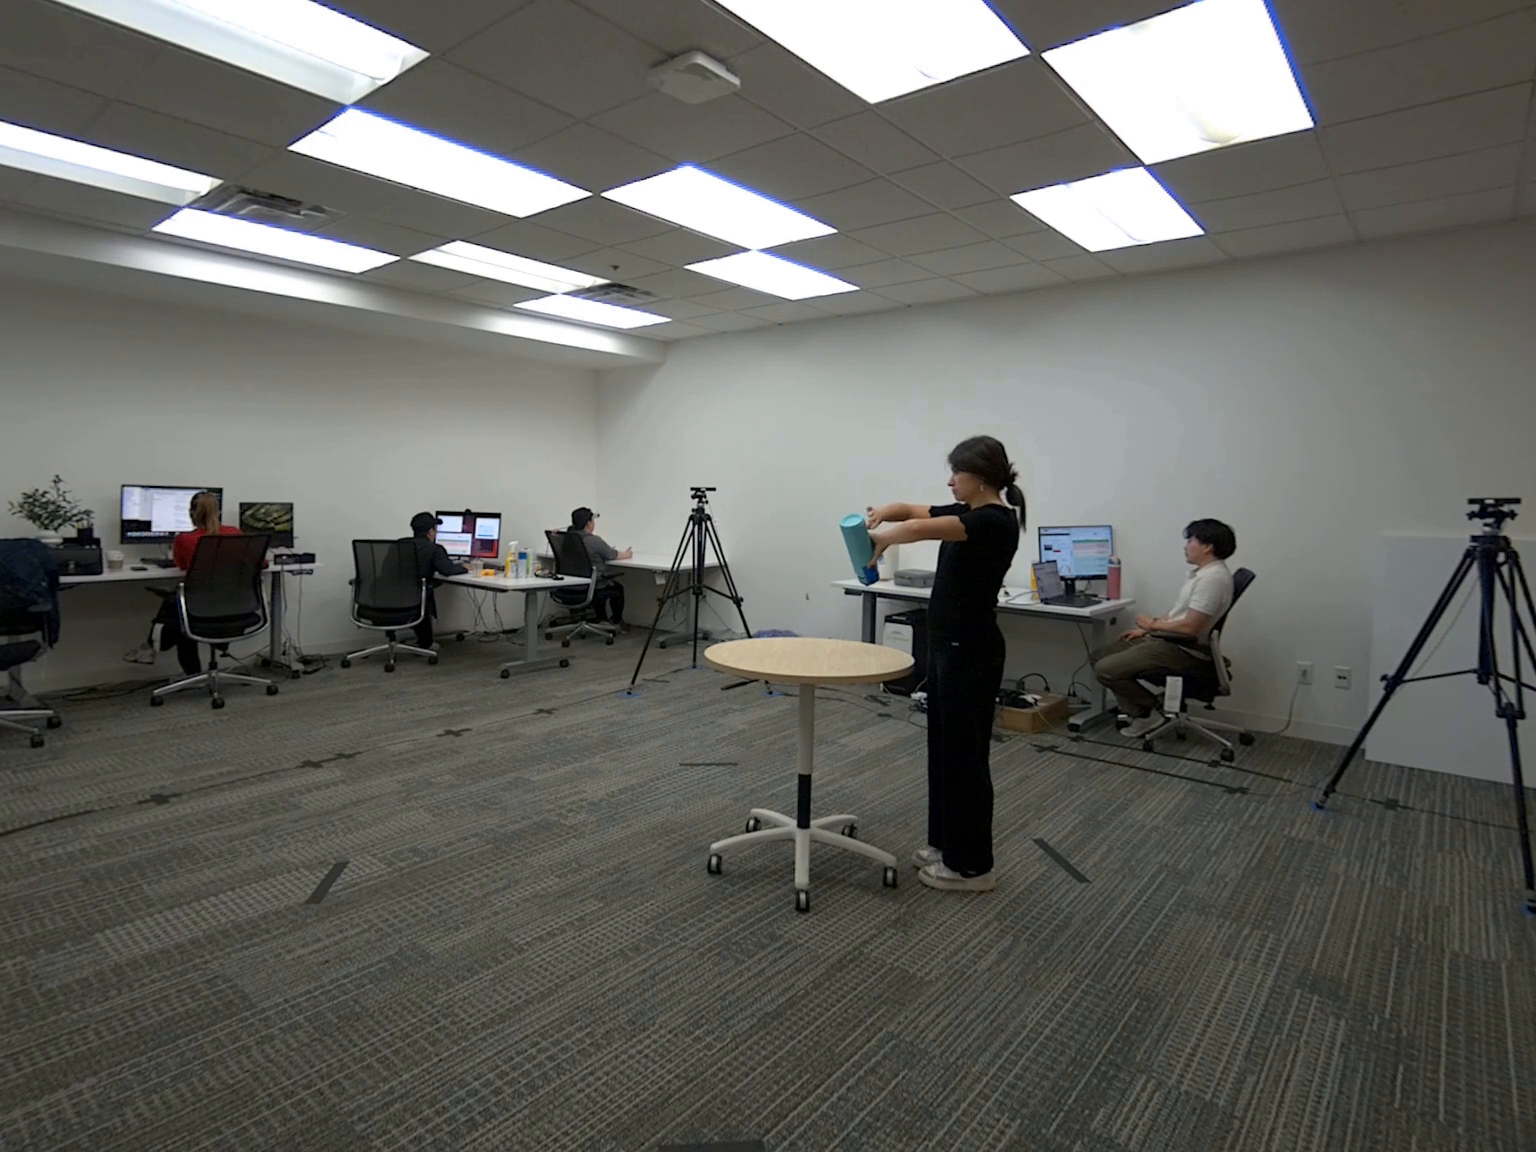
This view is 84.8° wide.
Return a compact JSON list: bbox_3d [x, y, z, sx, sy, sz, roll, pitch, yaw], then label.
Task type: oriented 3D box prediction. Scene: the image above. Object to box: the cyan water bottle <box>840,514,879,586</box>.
[{"bbox_3d":[0.328,-0.090,3.077,0.093,0.275,0.094,-16,28,7],"label":"cyan water bottle"}]
